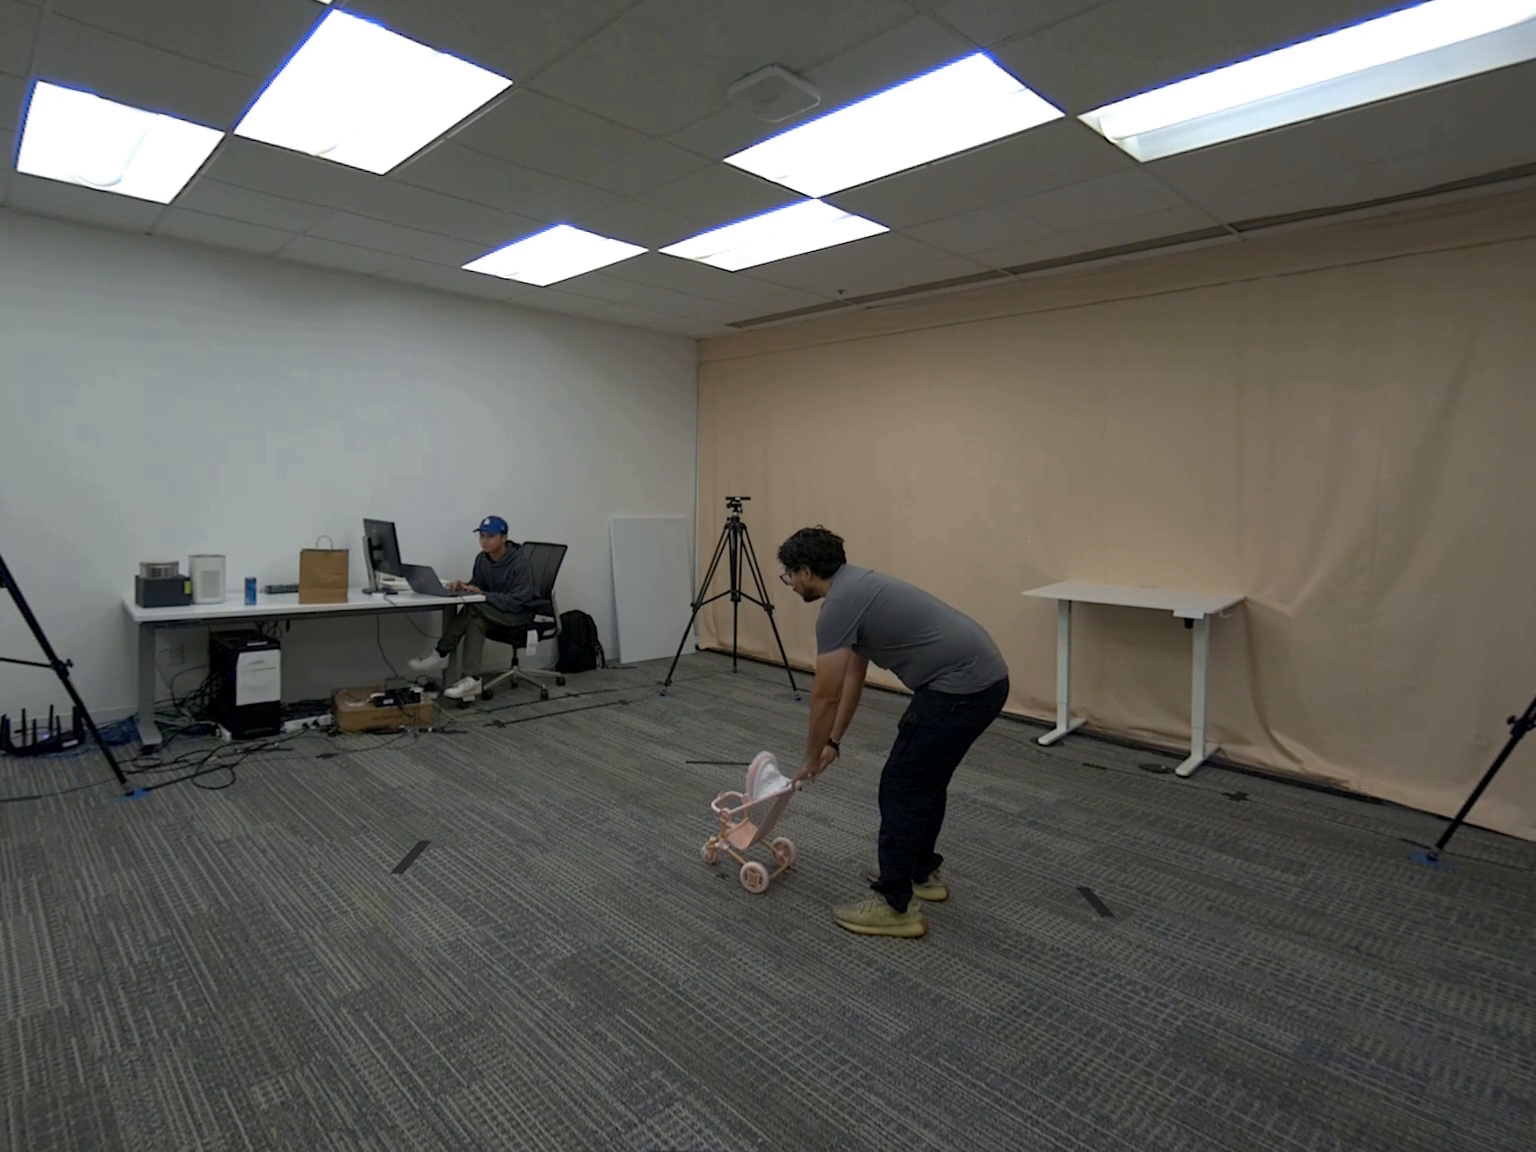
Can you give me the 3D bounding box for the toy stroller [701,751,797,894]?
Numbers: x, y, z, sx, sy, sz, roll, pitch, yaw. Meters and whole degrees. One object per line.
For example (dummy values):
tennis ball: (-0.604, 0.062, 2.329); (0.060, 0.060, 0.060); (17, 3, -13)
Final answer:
toy stroller: (-0.052, 0.885, 3.110); (0.350, 0.532, 0.275); (23, 13, 29)
